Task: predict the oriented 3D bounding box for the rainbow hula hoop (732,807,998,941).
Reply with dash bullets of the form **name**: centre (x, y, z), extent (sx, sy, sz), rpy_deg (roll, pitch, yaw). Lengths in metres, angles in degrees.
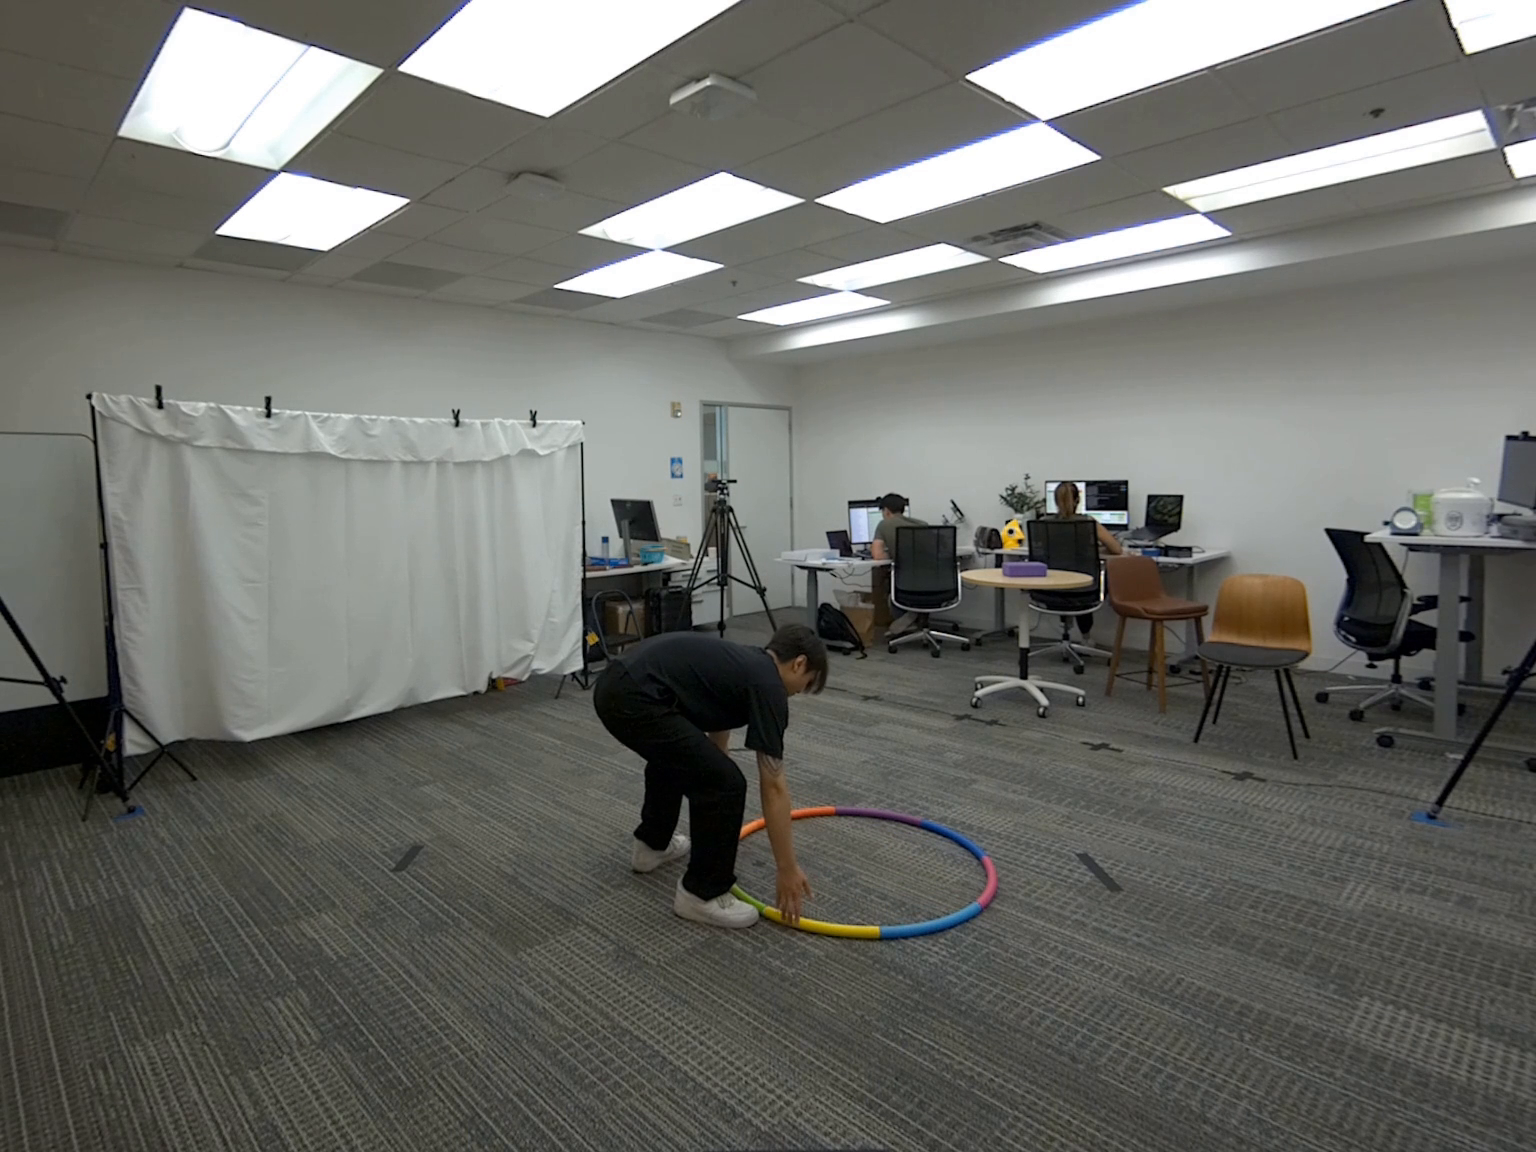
- **rainbow hula hoop**: centre (0.301, 1.014, 3.071), extent (0.978, 0.035, 0.984), rpy_deg (-1, 6, -2)
